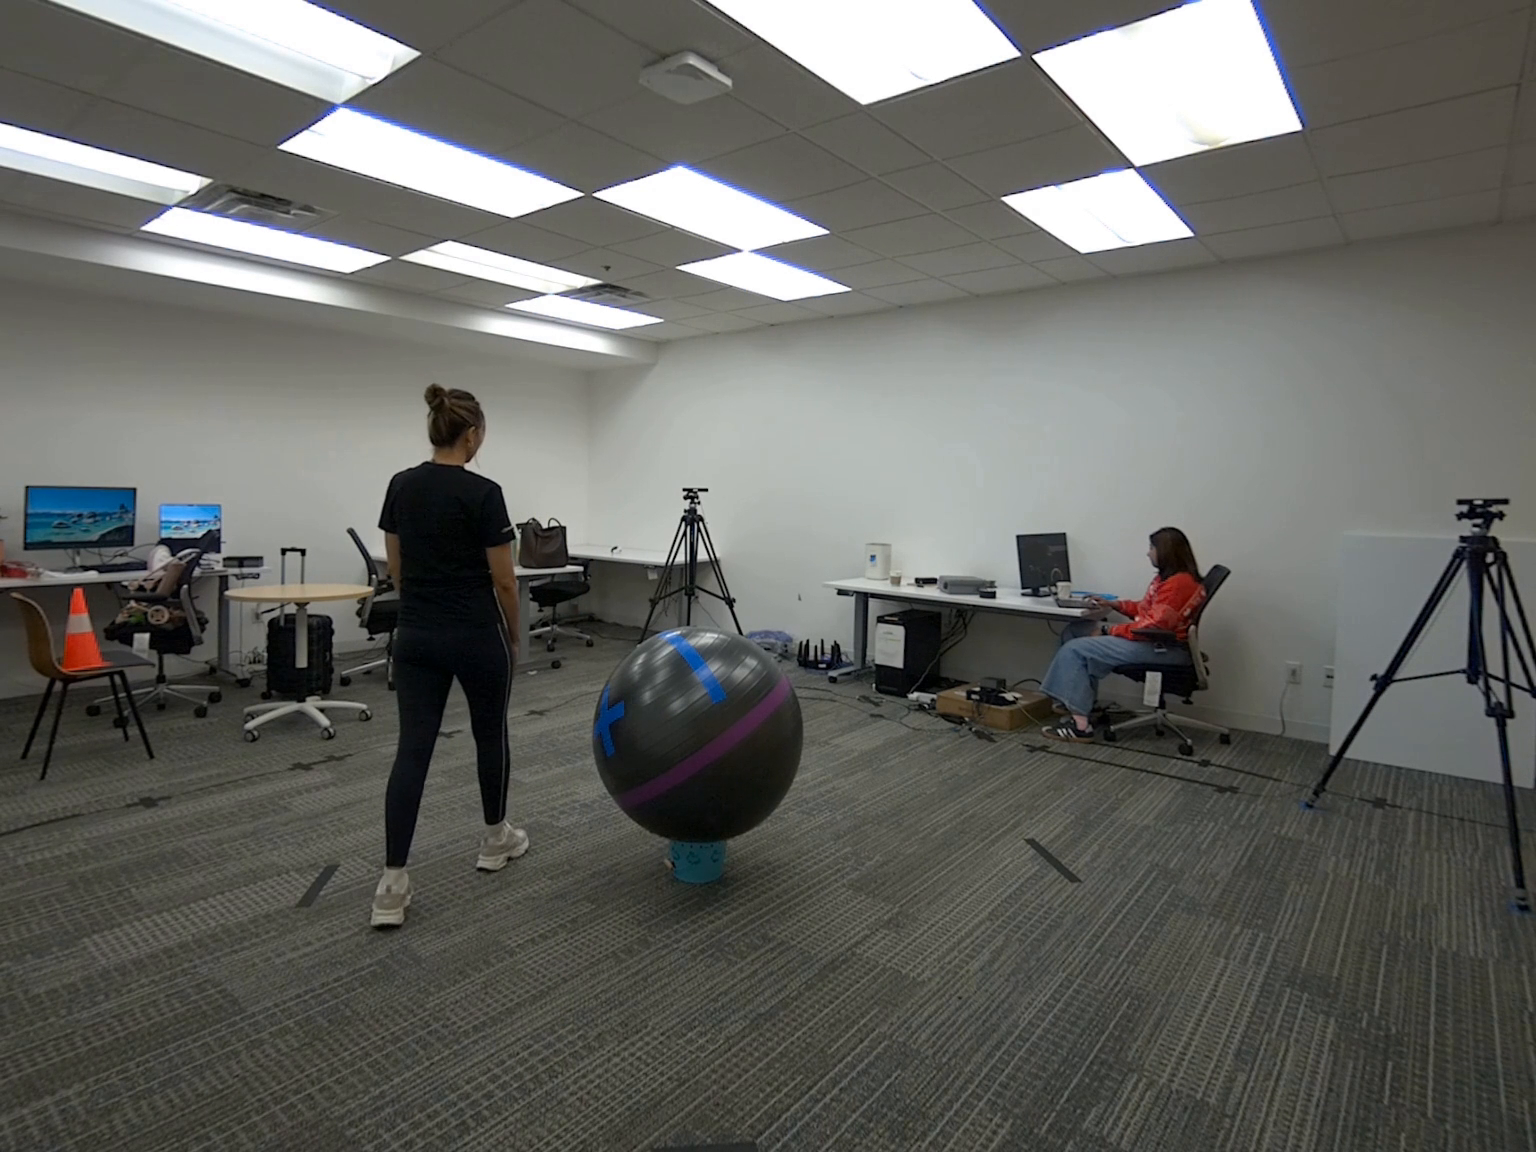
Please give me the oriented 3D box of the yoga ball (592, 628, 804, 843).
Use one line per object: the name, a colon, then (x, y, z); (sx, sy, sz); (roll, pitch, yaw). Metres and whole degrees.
yoga ball: (-0.259, 0.567, 3.068); (0.757, 0.755, 0.762); (1, 4, -2)
